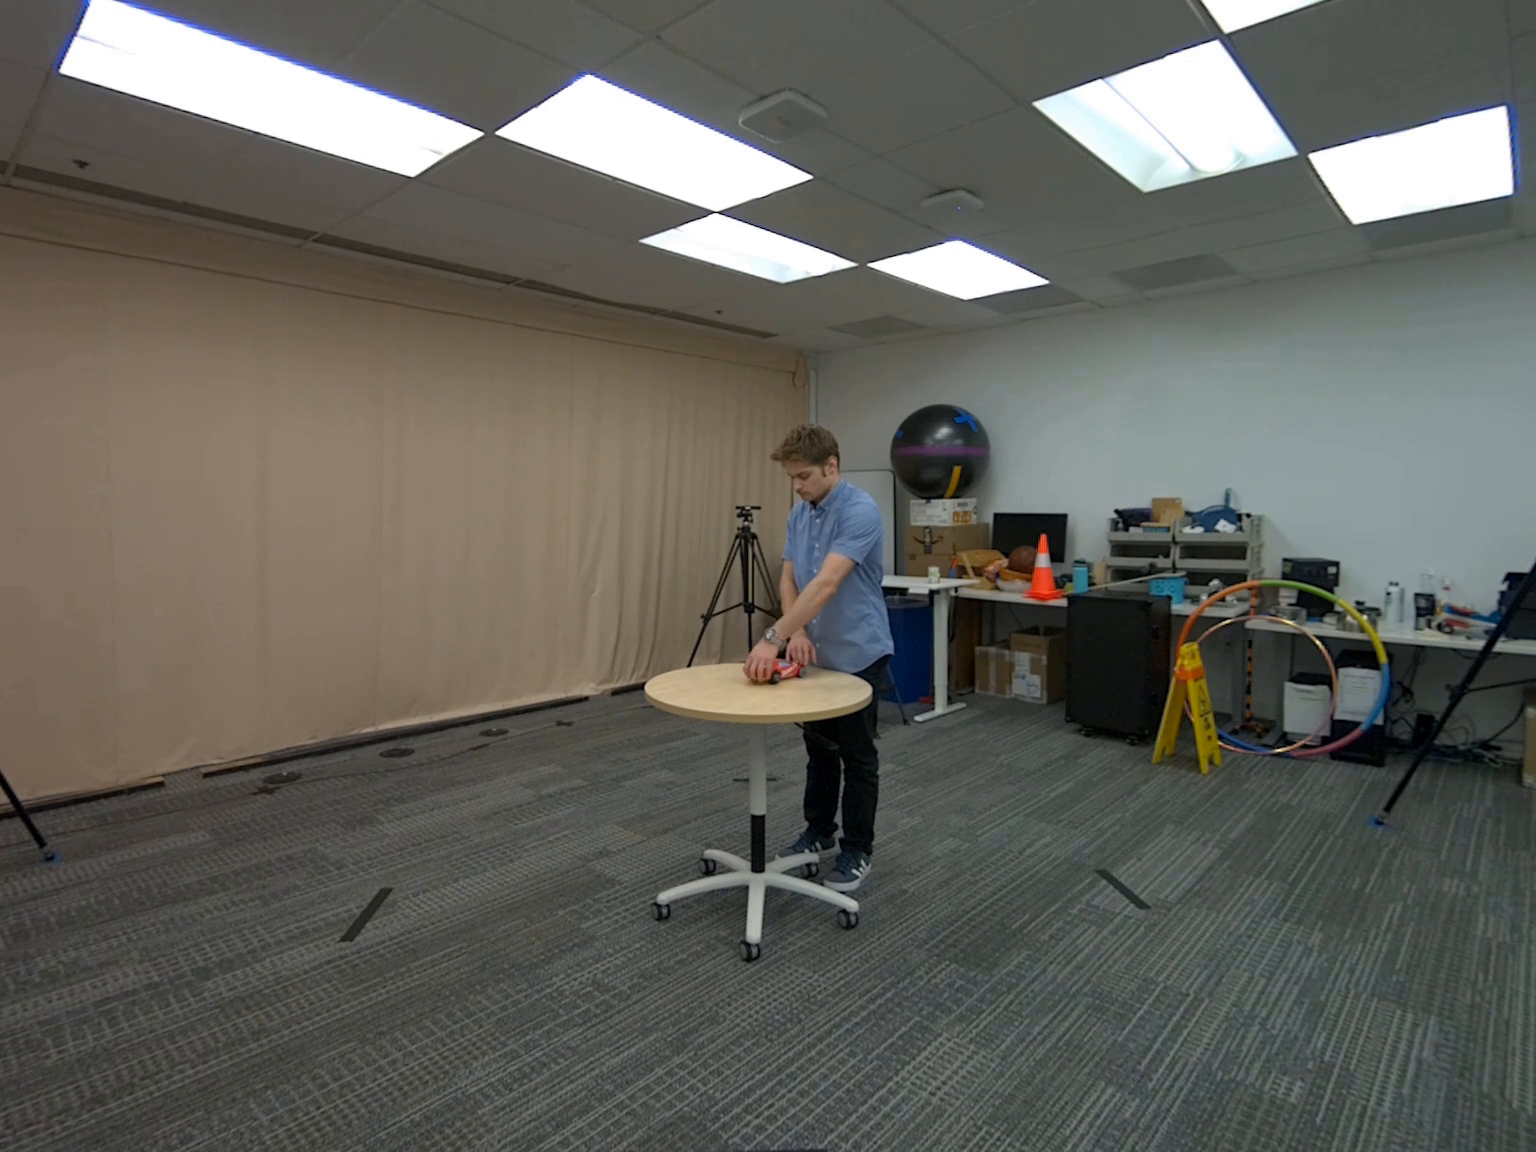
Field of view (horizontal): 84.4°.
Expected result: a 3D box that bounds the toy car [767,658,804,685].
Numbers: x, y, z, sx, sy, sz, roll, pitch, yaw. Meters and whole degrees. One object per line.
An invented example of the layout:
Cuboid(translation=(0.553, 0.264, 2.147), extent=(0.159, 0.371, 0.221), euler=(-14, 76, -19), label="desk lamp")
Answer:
Cuboid(translation=(0.021, 0.332, 2.944), extent=(0.135, 0.083, 0.246), euler=(4, -4, 43), label="toy car")
